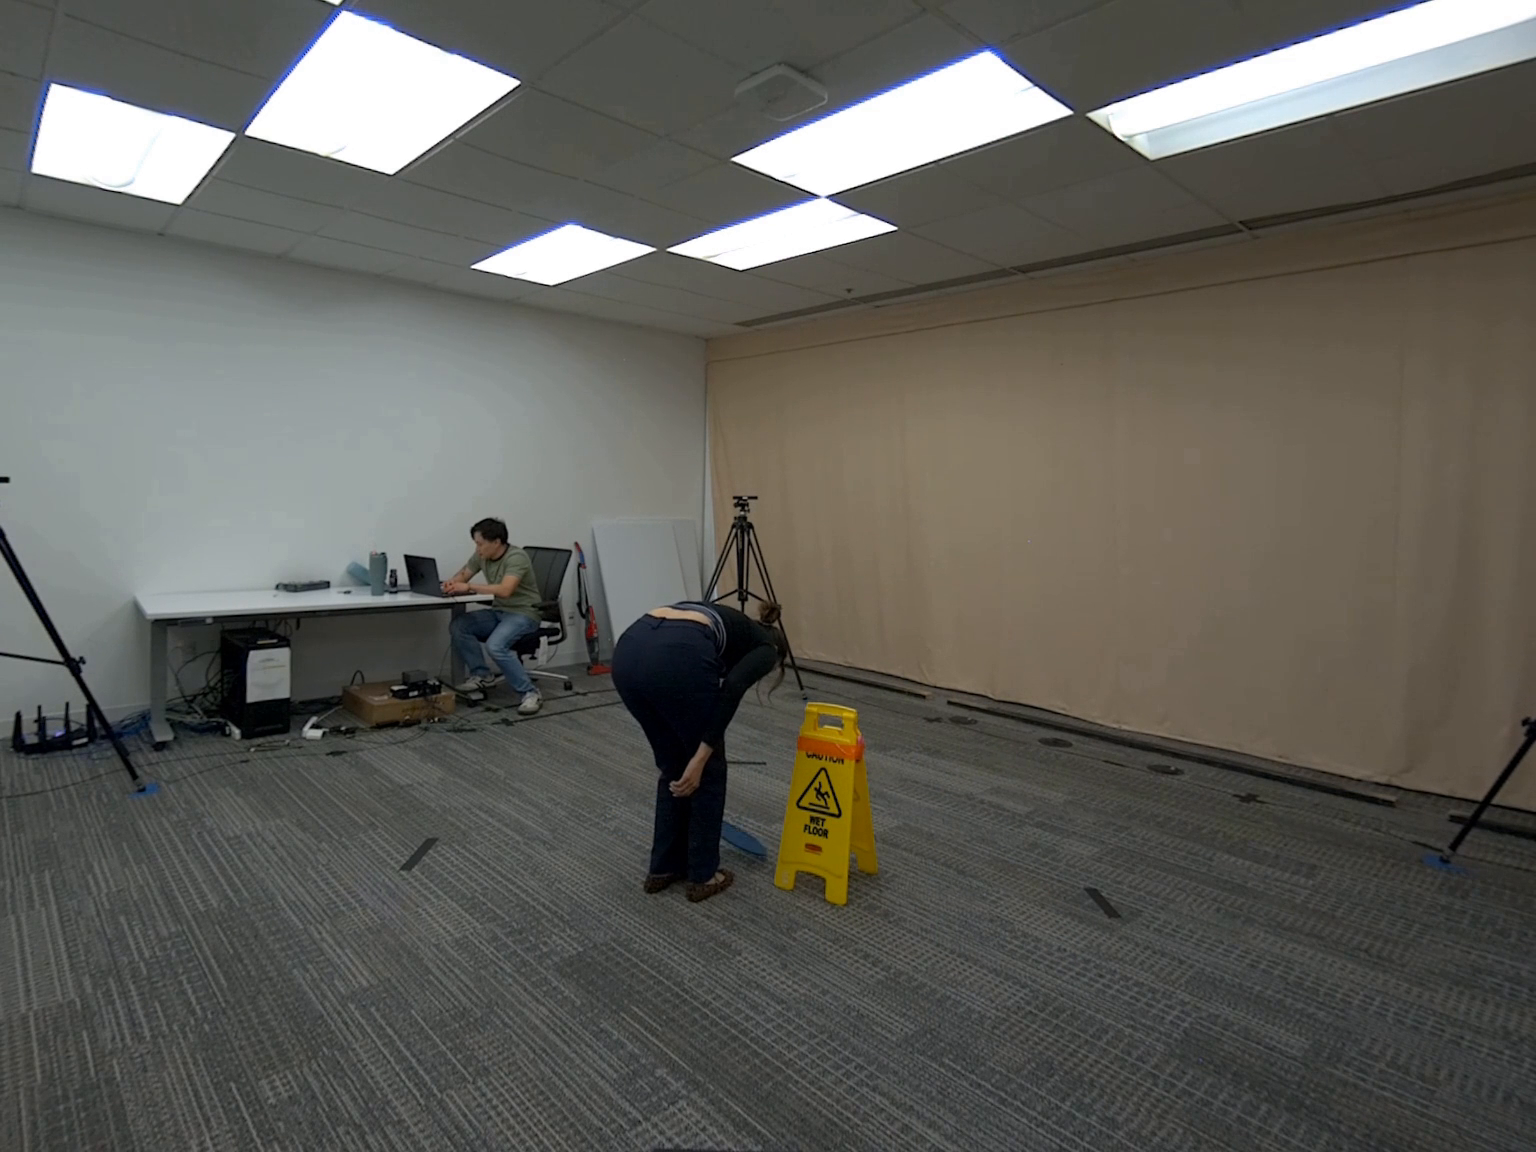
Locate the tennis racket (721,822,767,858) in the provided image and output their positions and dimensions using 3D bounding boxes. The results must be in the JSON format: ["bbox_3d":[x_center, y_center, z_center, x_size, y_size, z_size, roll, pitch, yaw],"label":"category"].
[{"bbox_3d":[-0.176,0.980,3.263,0.436,0.032,0.212,26,1,7],"label":"tennis racket"}]
